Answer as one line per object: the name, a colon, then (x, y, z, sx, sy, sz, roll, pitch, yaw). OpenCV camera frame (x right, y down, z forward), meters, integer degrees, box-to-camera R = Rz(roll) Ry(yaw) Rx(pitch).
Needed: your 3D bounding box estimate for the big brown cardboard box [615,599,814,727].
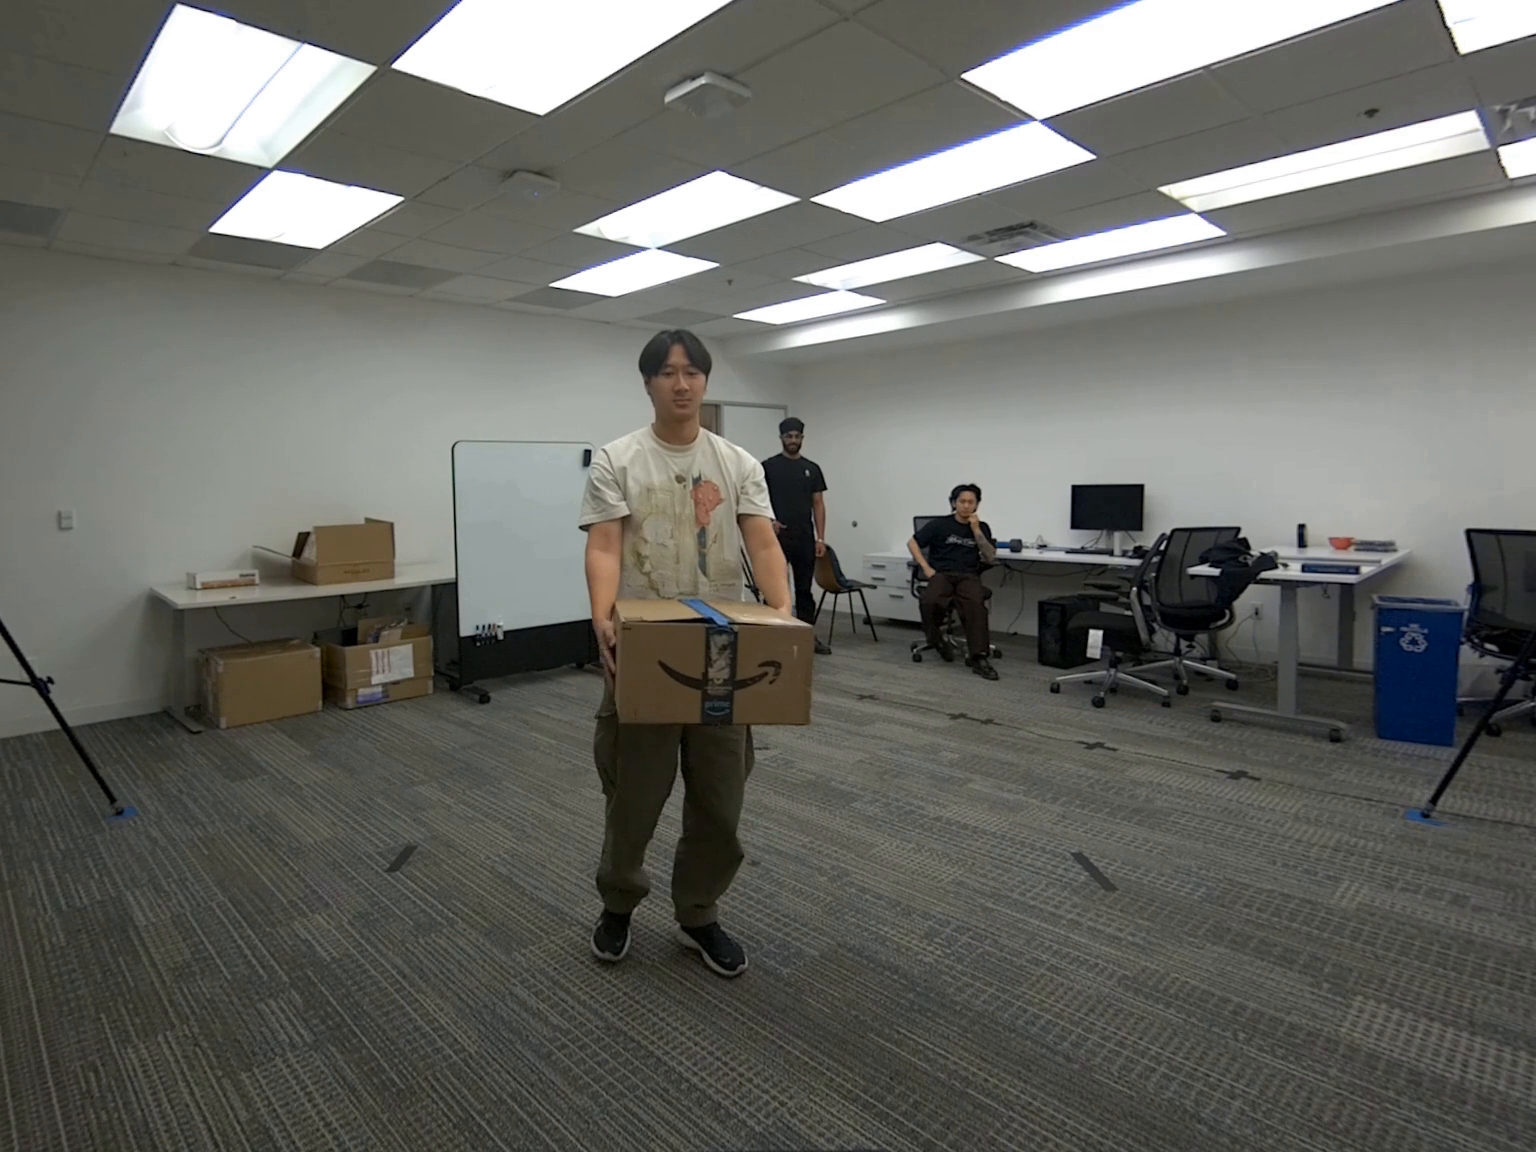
big brown cardboard box: (-0.164, 0.199, 2.066, 0.412, 0.233, 0.596, 2, 1, -14)
